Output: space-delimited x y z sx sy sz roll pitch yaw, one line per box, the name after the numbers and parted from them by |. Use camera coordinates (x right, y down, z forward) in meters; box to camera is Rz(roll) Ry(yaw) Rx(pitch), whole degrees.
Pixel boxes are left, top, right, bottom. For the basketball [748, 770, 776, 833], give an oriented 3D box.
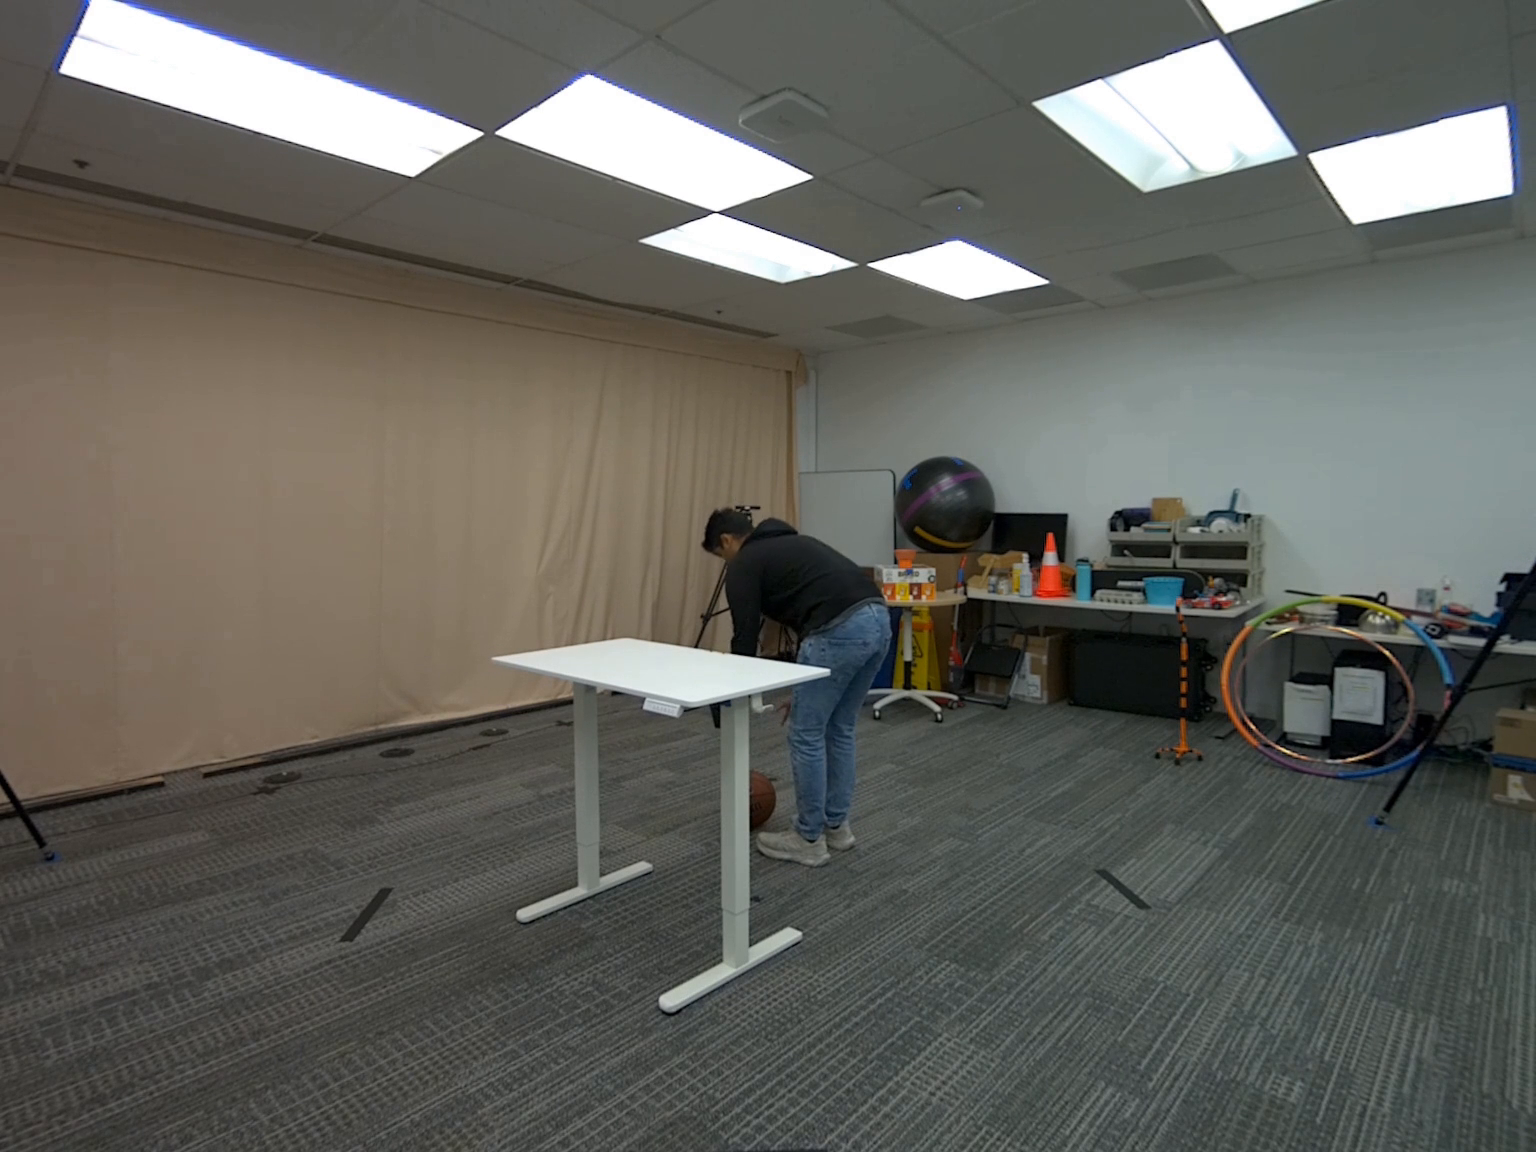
-0.080 0.971 3.672 0.236 0.235 0.237 0 4 -2 | basketball
